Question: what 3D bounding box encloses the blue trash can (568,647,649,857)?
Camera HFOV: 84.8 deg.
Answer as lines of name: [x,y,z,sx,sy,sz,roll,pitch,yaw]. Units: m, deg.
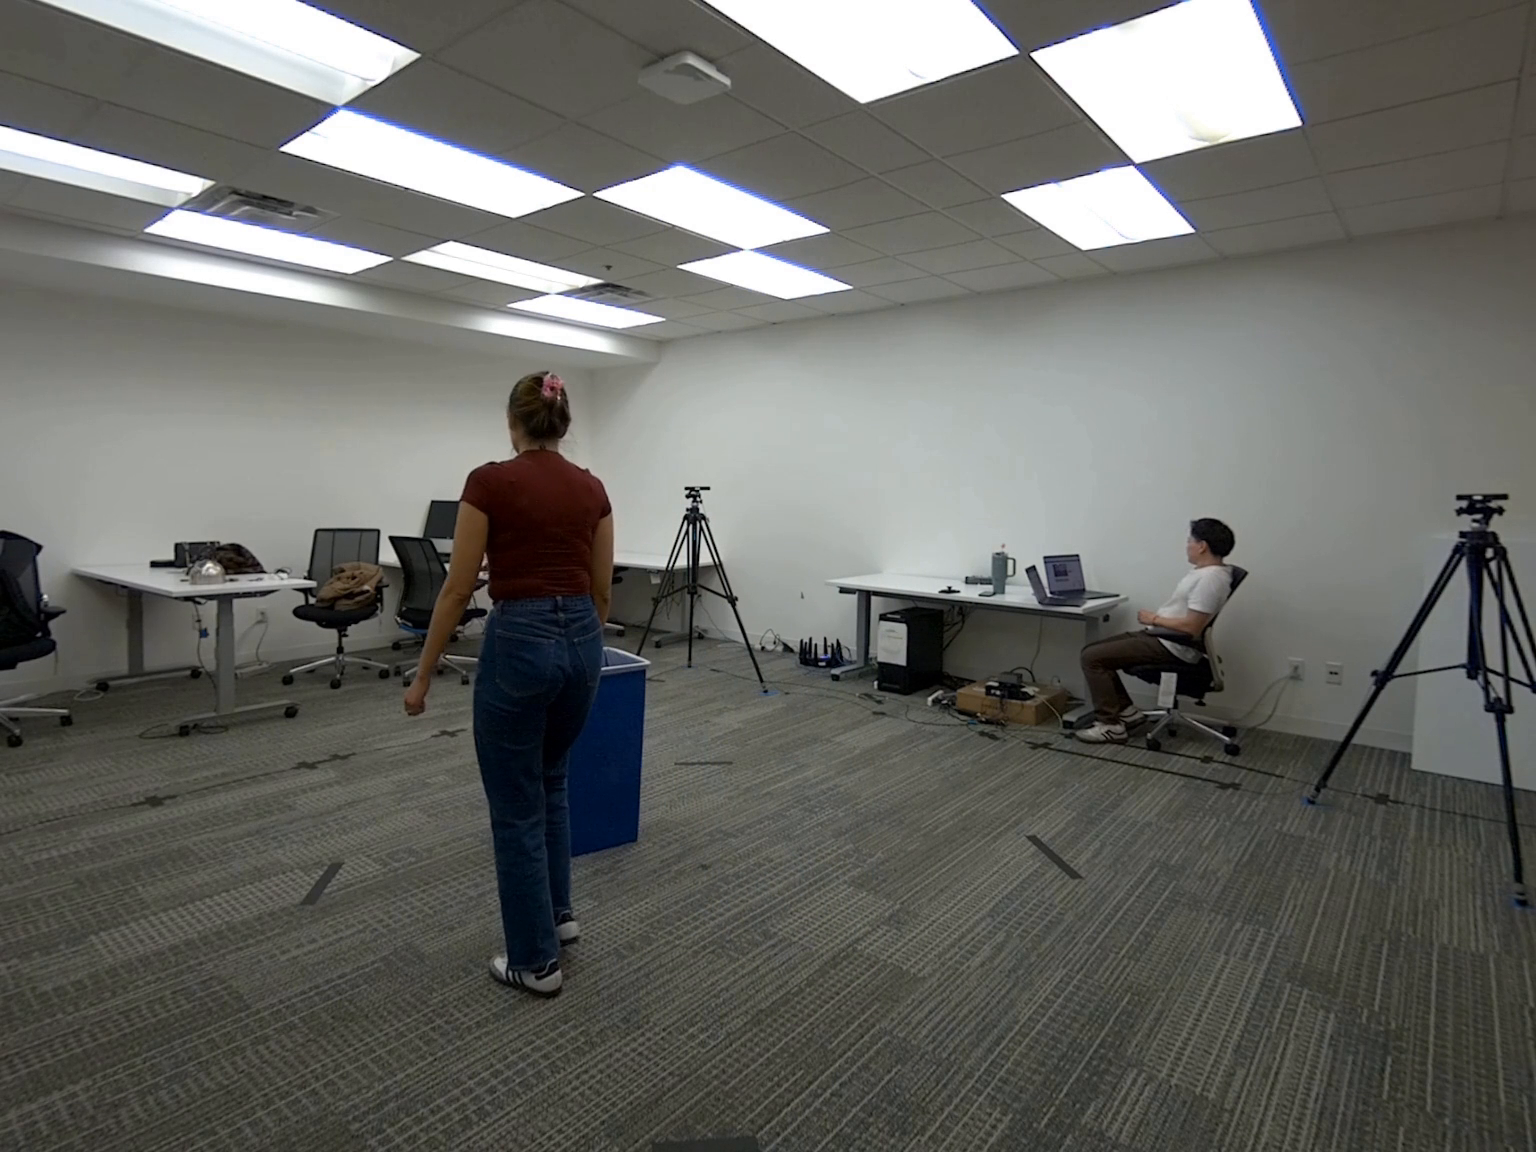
blue trash can: [-0.712,0.678,3.364,0.367,0.712,0.386,-2,3,-38]
